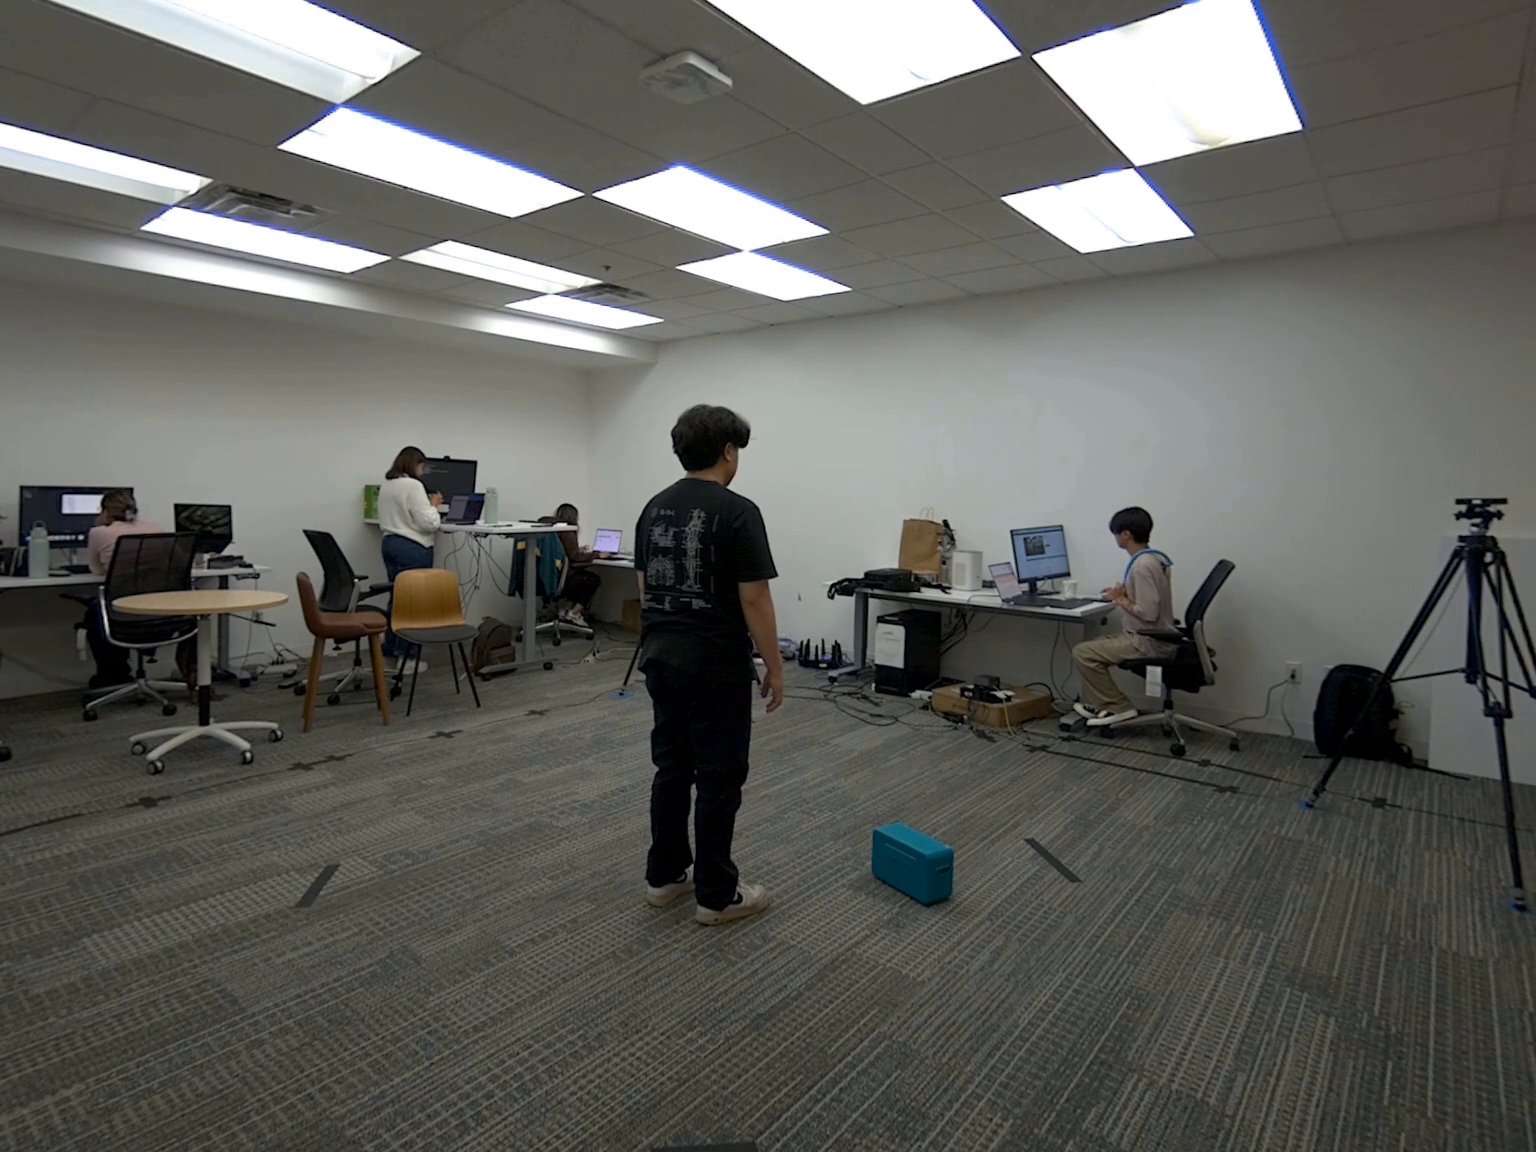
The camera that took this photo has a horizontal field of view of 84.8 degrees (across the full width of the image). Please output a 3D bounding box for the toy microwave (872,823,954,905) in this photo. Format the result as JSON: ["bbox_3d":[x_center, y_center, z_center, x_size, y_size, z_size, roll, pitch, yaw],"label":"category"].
[{"bbox_3d":[0.508,1.008,2.999,0.148,0.183,0.295,-1,5,-35],"label":"toy microwave"}]
